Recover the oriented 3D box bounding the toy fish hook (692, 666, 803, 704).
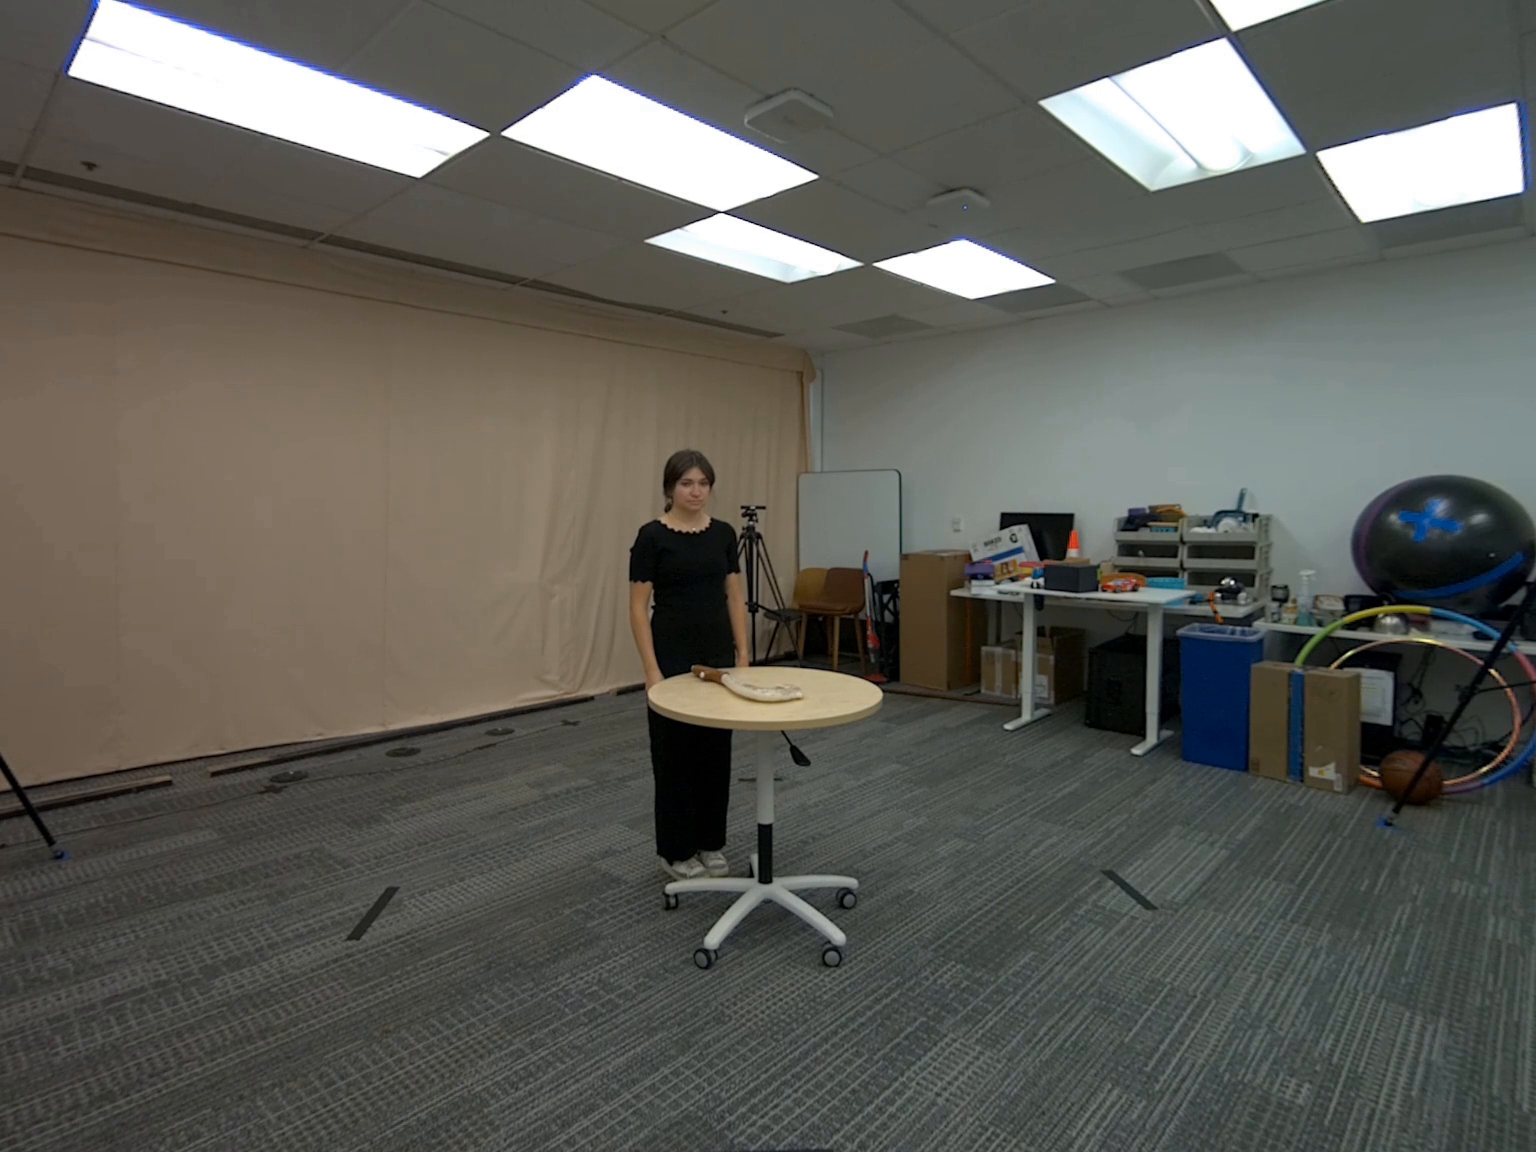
[{"bbox_3d":[-0.072,0.363,2.816,0.218,0.048,0.523,5,2,-35],"label":"toy fish hook"}]
